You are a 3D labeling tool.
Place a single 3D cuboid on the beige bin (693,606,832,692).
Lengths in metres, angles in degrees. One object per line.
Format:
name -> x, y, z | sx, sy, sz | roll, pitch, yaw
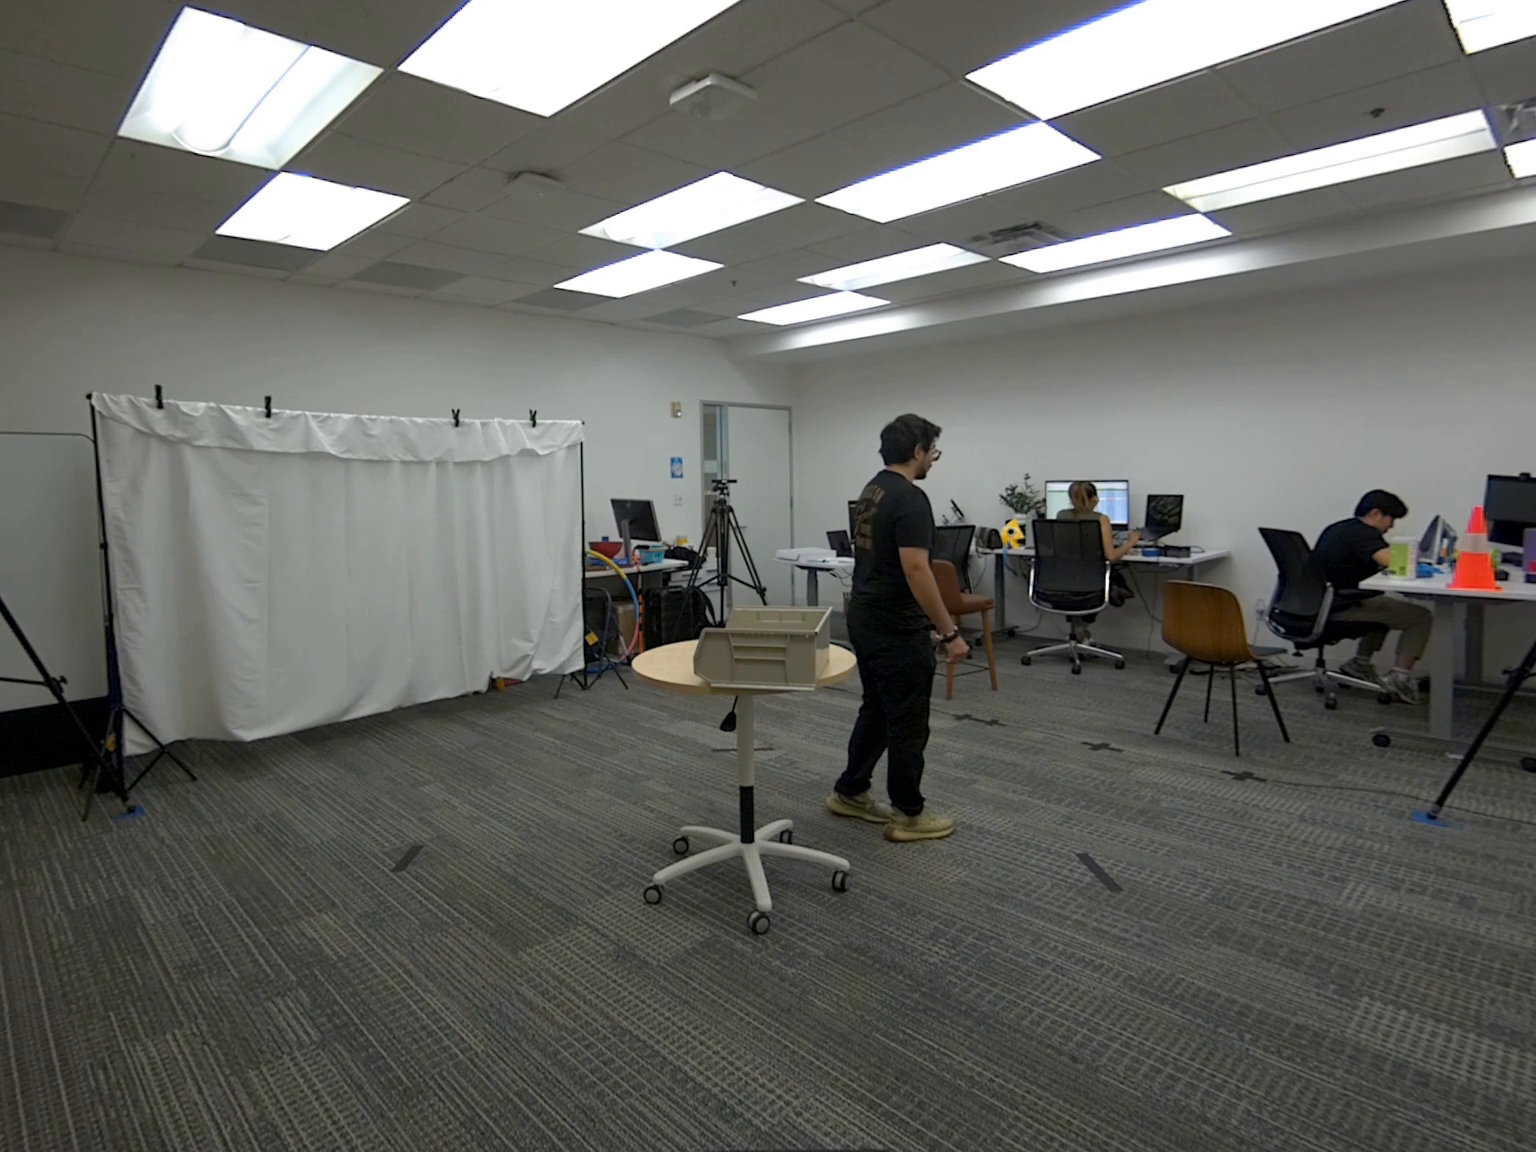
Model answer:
beige bin -> -0.003, 0.225, 2.712 | 0.382, 0.188, 0.419 | 1, 7, 12
